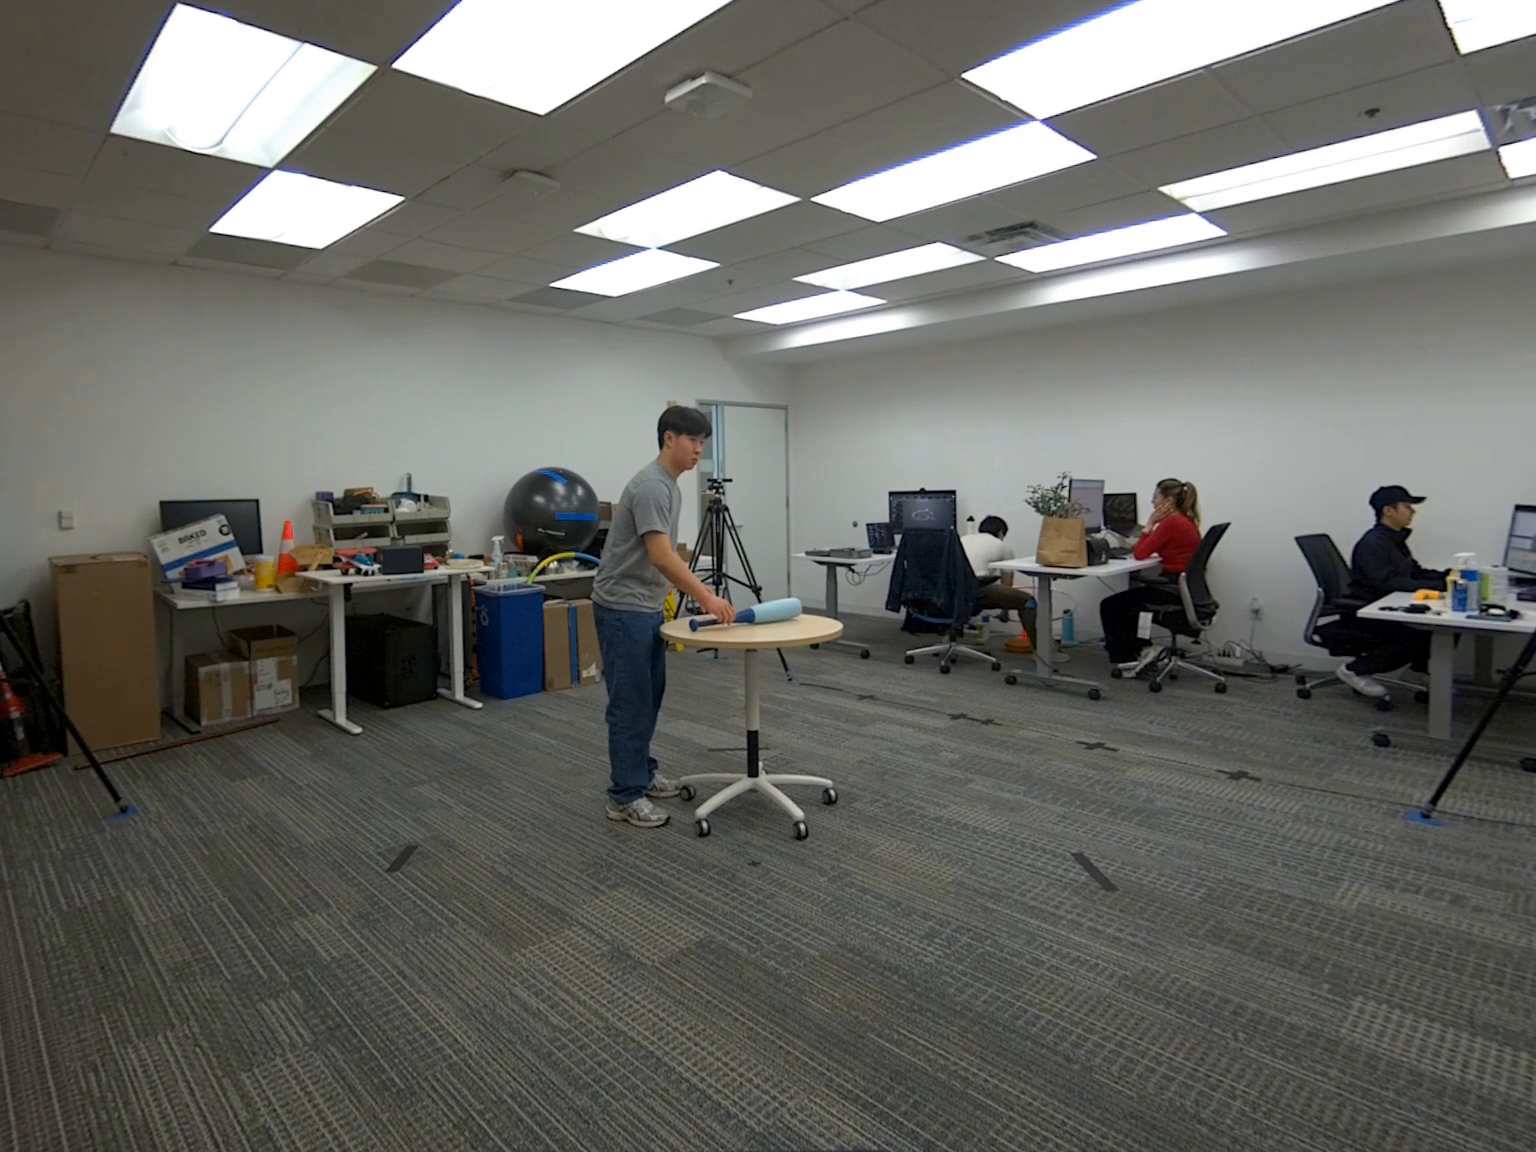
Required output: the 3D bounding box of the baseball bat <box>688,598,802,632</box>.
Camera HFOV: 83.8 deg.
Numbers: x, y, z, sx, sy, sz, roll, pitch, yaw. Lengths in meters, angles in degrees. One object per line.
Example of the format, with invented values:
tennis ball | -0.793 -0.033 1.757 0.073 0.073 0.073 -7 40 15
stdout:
baseball bat | -0.094 0.170 3.596 0.531 0.088 0.091 -9 8 -32
